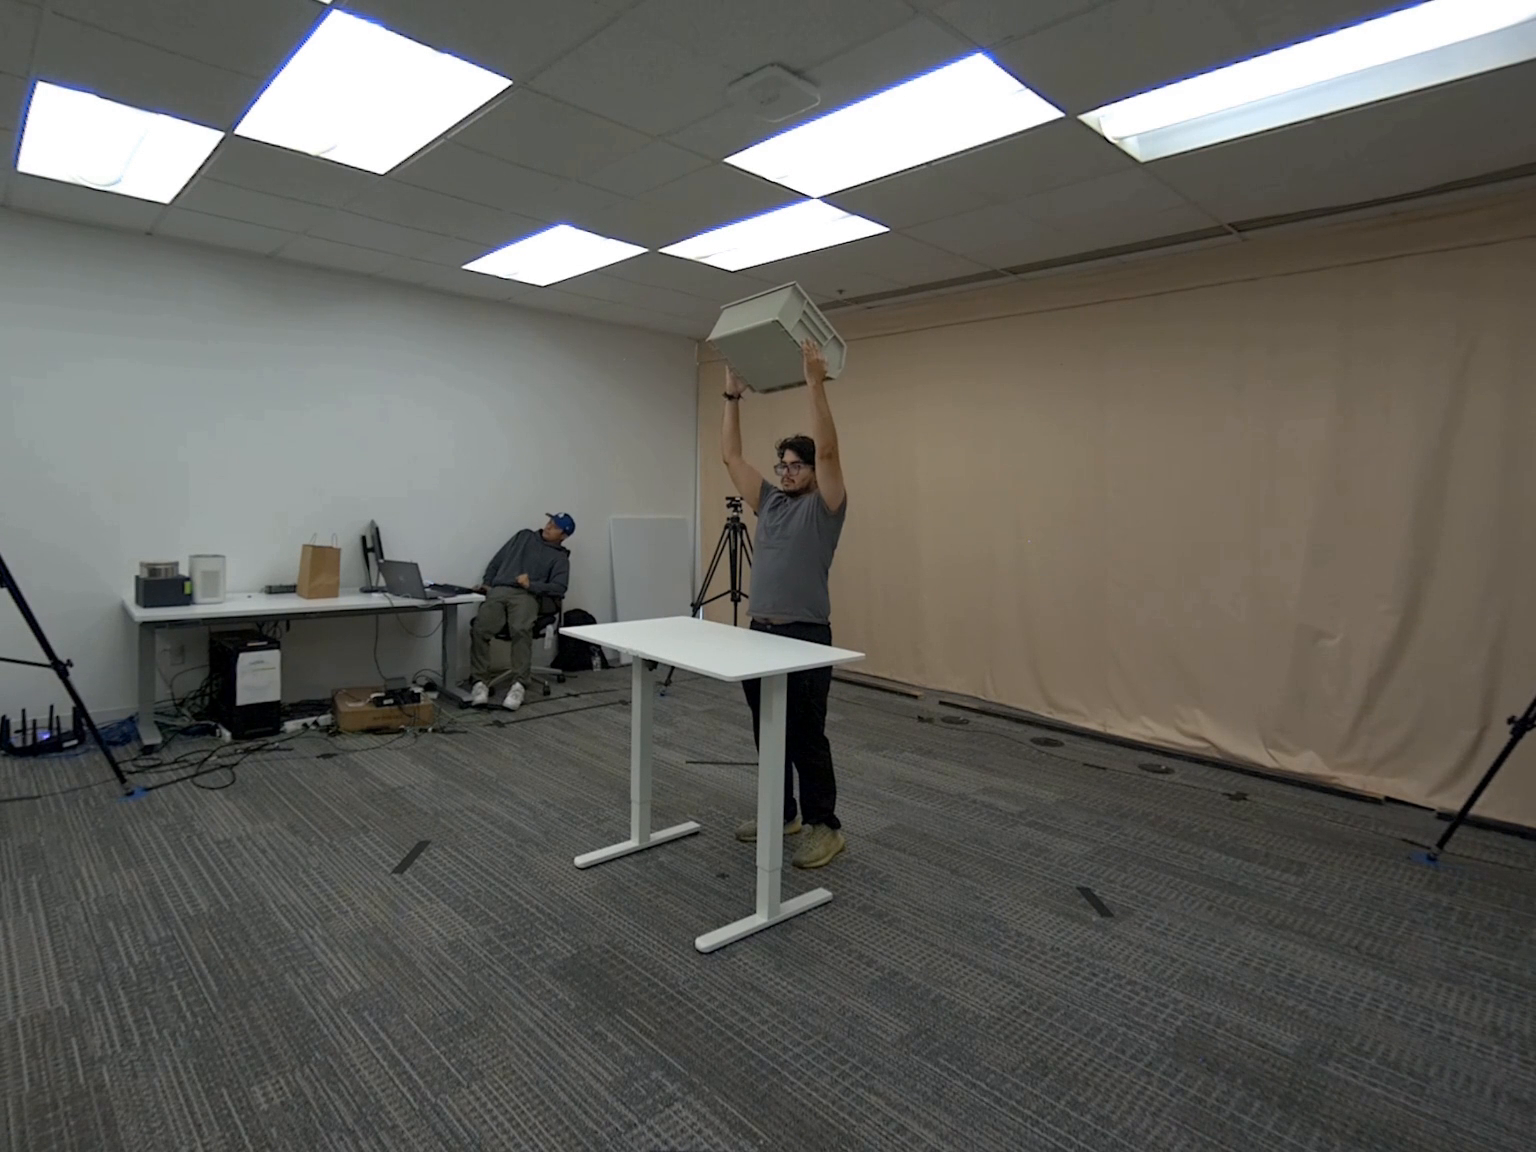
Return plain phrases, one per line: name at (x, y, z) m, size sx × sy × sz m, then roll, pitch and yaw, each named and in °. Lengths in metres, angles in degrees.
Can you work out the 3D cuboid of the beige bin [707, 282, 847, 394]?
beige bin at (0.024, -0.899, 3.291) m, size 0.432 × 0.190 × 0.366 m, roll 2°, pitch -32°, yaw 48°
